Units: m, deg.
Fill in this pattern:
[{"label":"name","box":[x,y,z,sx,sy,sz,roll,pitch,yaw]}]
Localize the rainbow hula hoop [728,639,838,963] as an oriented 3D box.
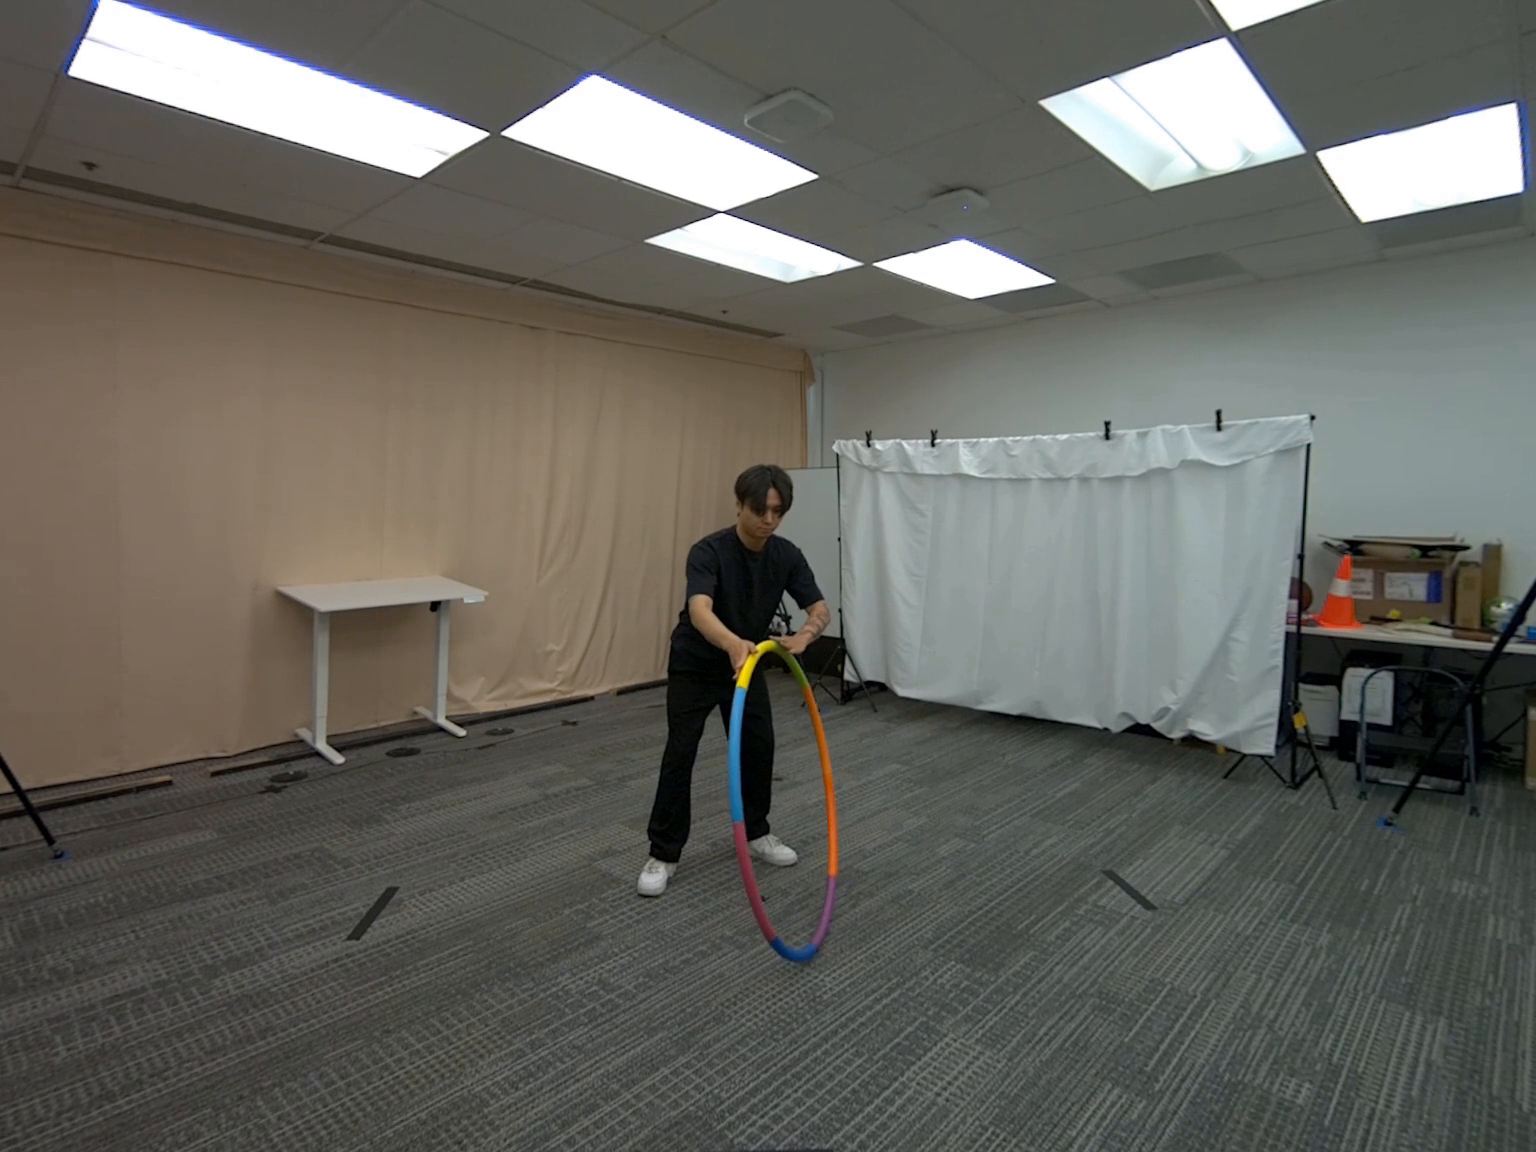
[{"label":"rainbow hula hoop","box":[0.078,0.695,2.691,0.036,0.979,0.961,-11,0,18]}]
